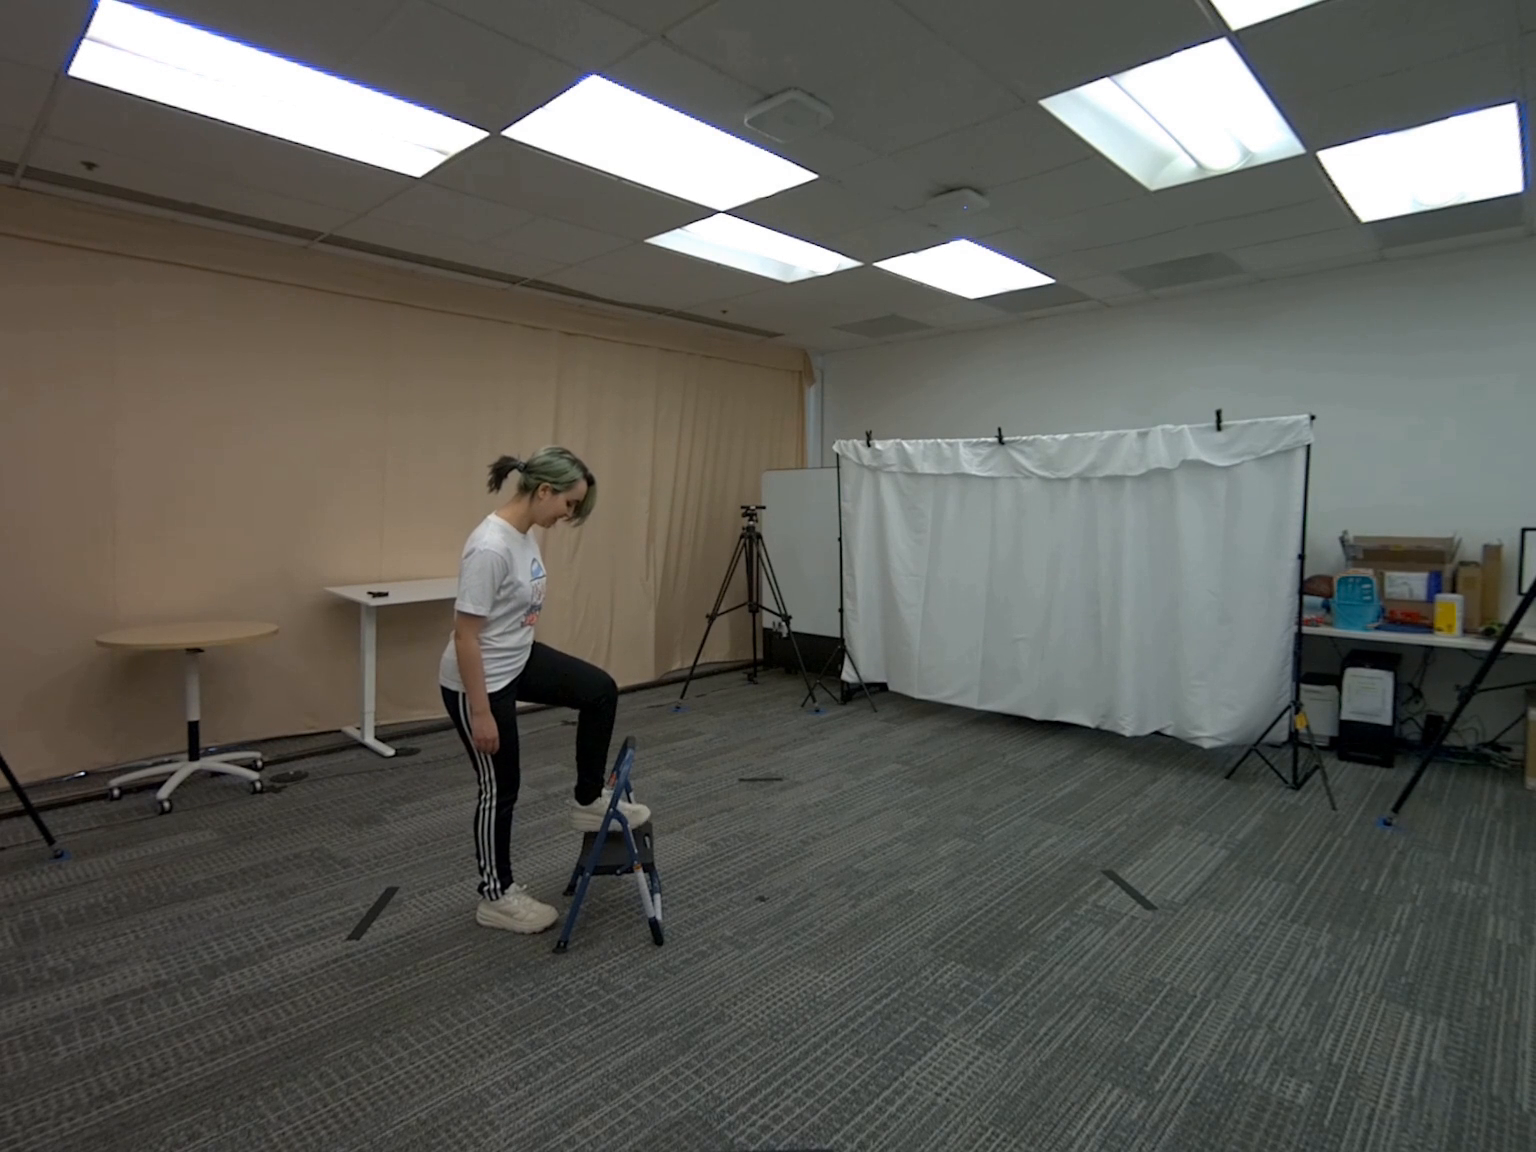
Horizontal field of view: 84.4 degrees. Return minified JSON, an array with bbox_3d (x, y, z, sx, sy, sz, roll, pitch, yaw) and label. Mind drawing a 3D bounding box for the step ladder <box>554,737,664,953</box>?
[{"bbox_3d":[-0.533,0.863,2.835,0.347,0.605,0.435,-1,4,-8],"label":"step ladder"}]
